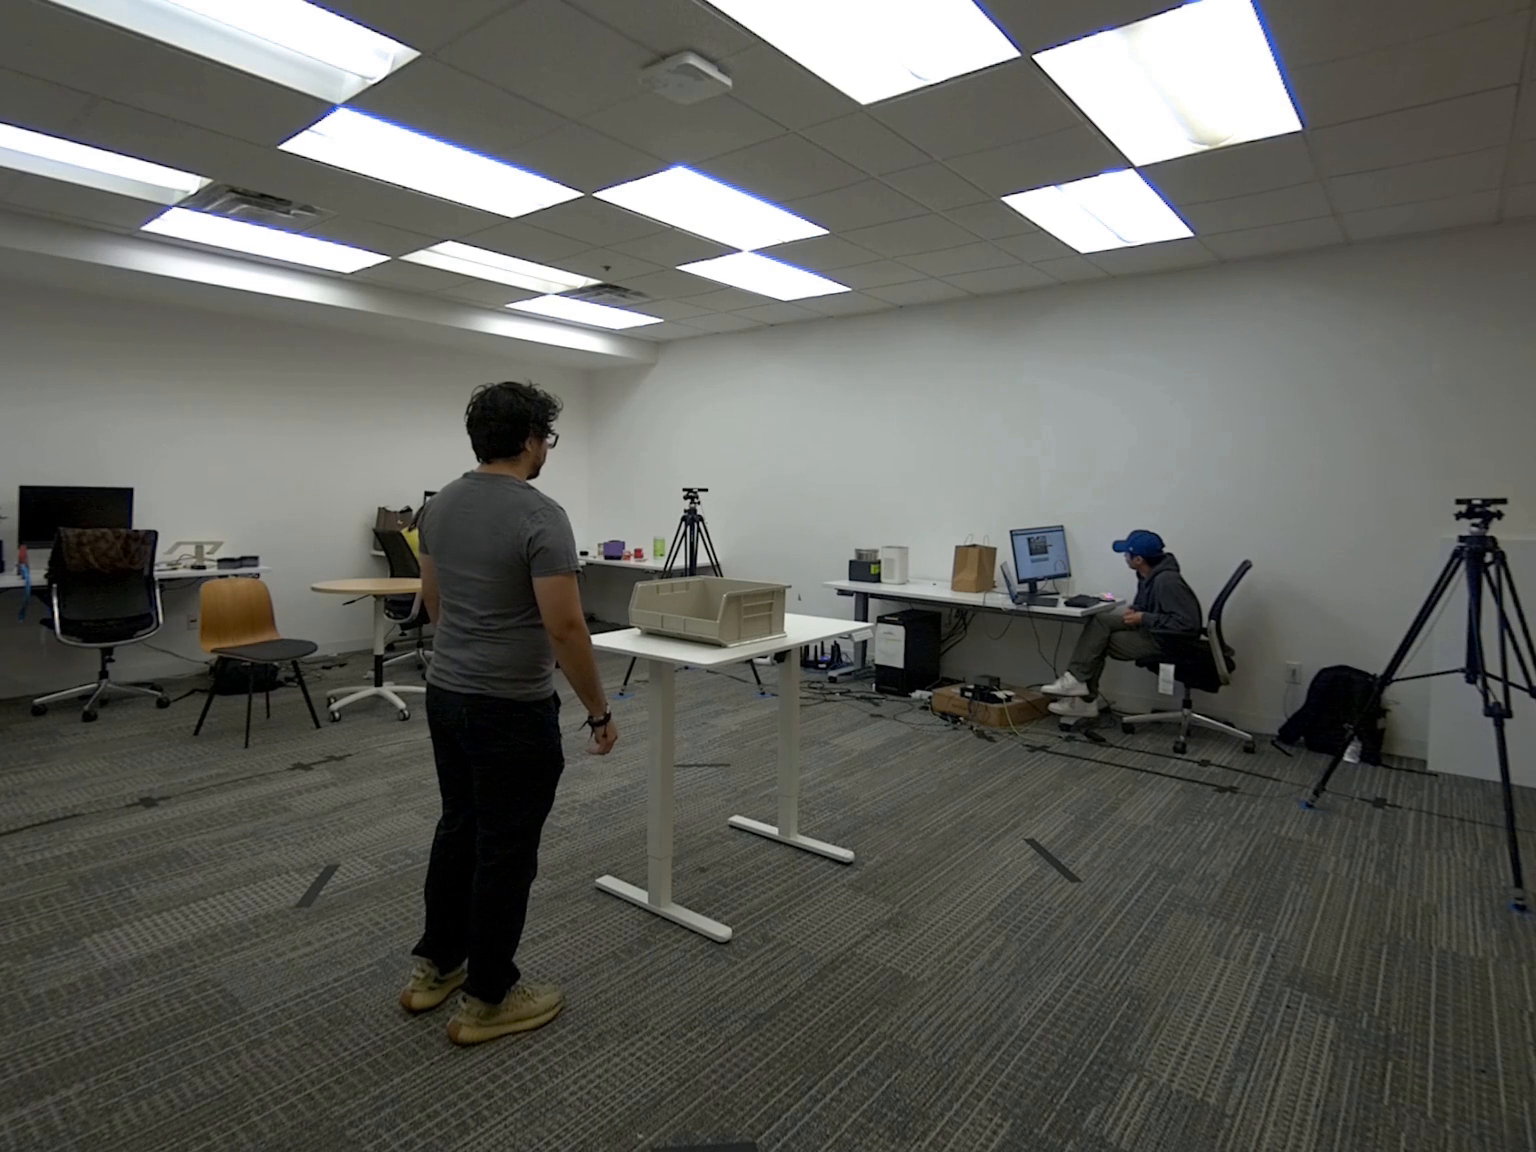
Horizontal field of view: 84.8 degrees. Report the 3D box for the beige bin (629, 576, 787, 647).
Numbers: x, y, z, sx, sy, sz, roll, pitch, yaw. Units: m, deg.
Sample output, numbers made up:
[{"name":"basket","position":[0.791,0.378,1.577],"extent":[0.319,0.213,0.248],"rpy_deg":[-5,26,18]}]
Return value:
[{"name":"beige bin","position":[-0.209,0.118,2.935],"extent":[0.436,0.188,0.366],"rpy_deg":[4,5,39]}]
